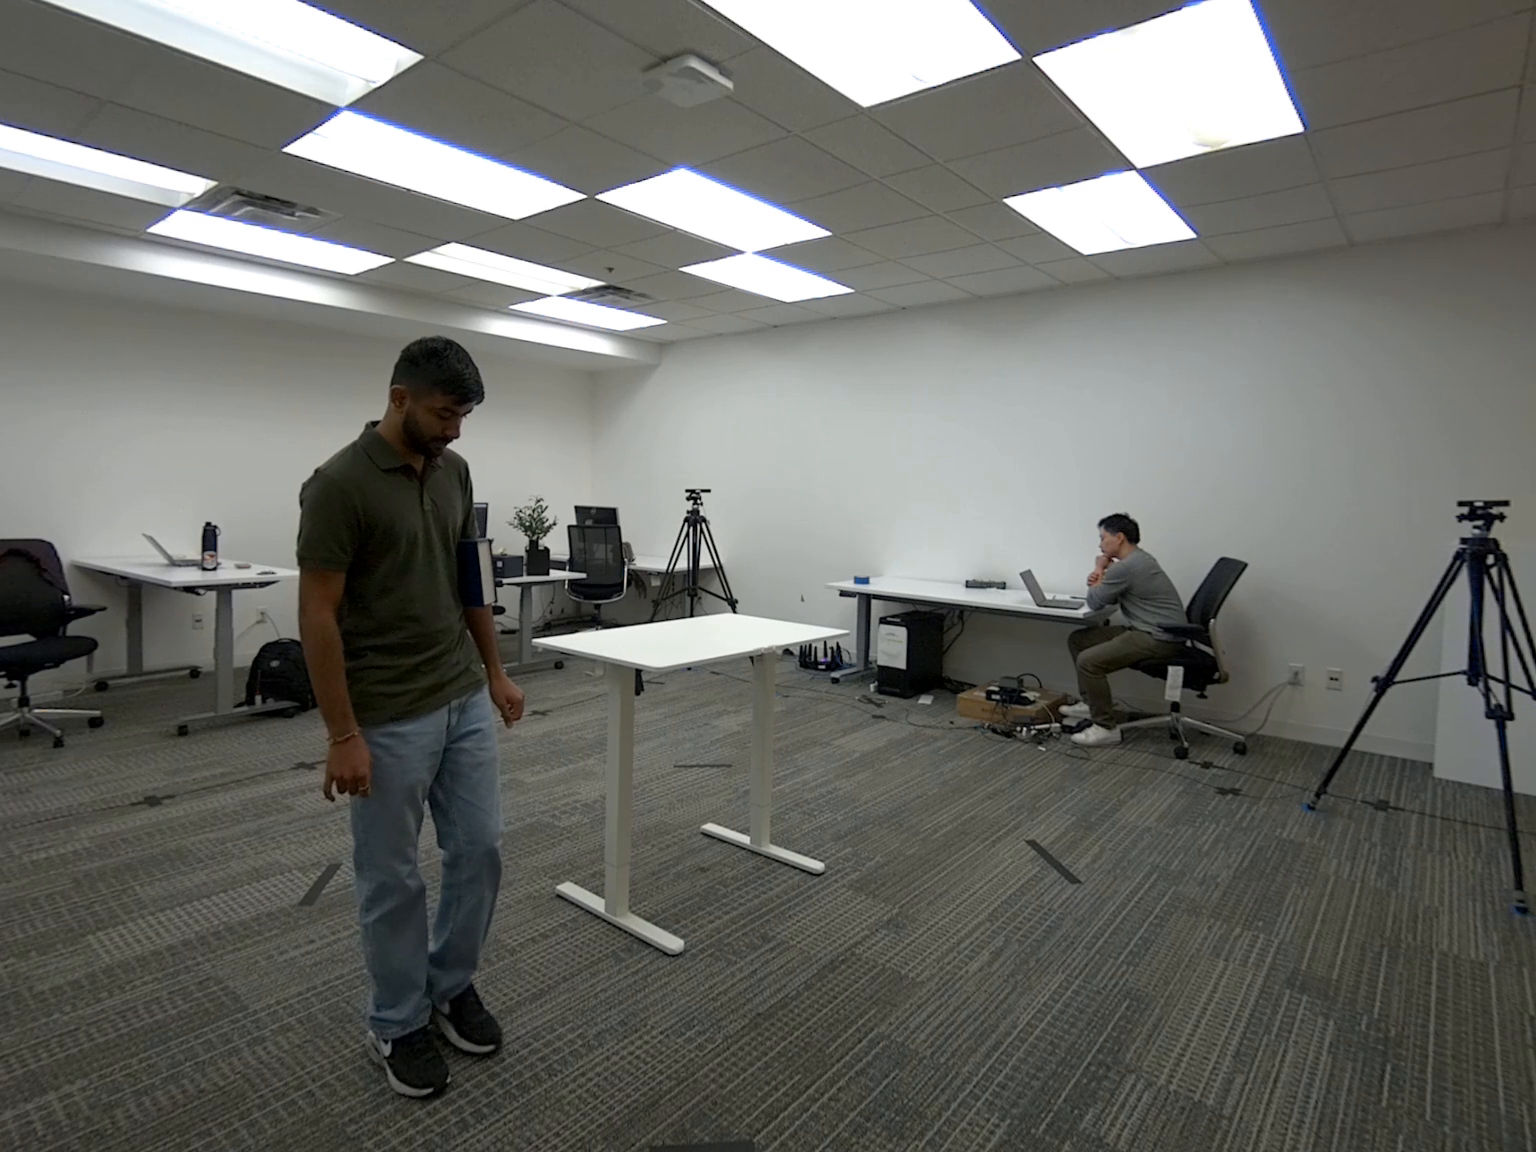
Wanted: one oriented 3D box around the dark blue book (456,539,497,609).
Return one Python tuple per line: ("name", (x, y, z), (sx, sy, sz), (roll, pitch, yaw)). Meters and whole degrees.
("dark blue book", (-0.796, -0.005, 2.138), (0.252, 0.162, 0.044), (0, 7, 30))
